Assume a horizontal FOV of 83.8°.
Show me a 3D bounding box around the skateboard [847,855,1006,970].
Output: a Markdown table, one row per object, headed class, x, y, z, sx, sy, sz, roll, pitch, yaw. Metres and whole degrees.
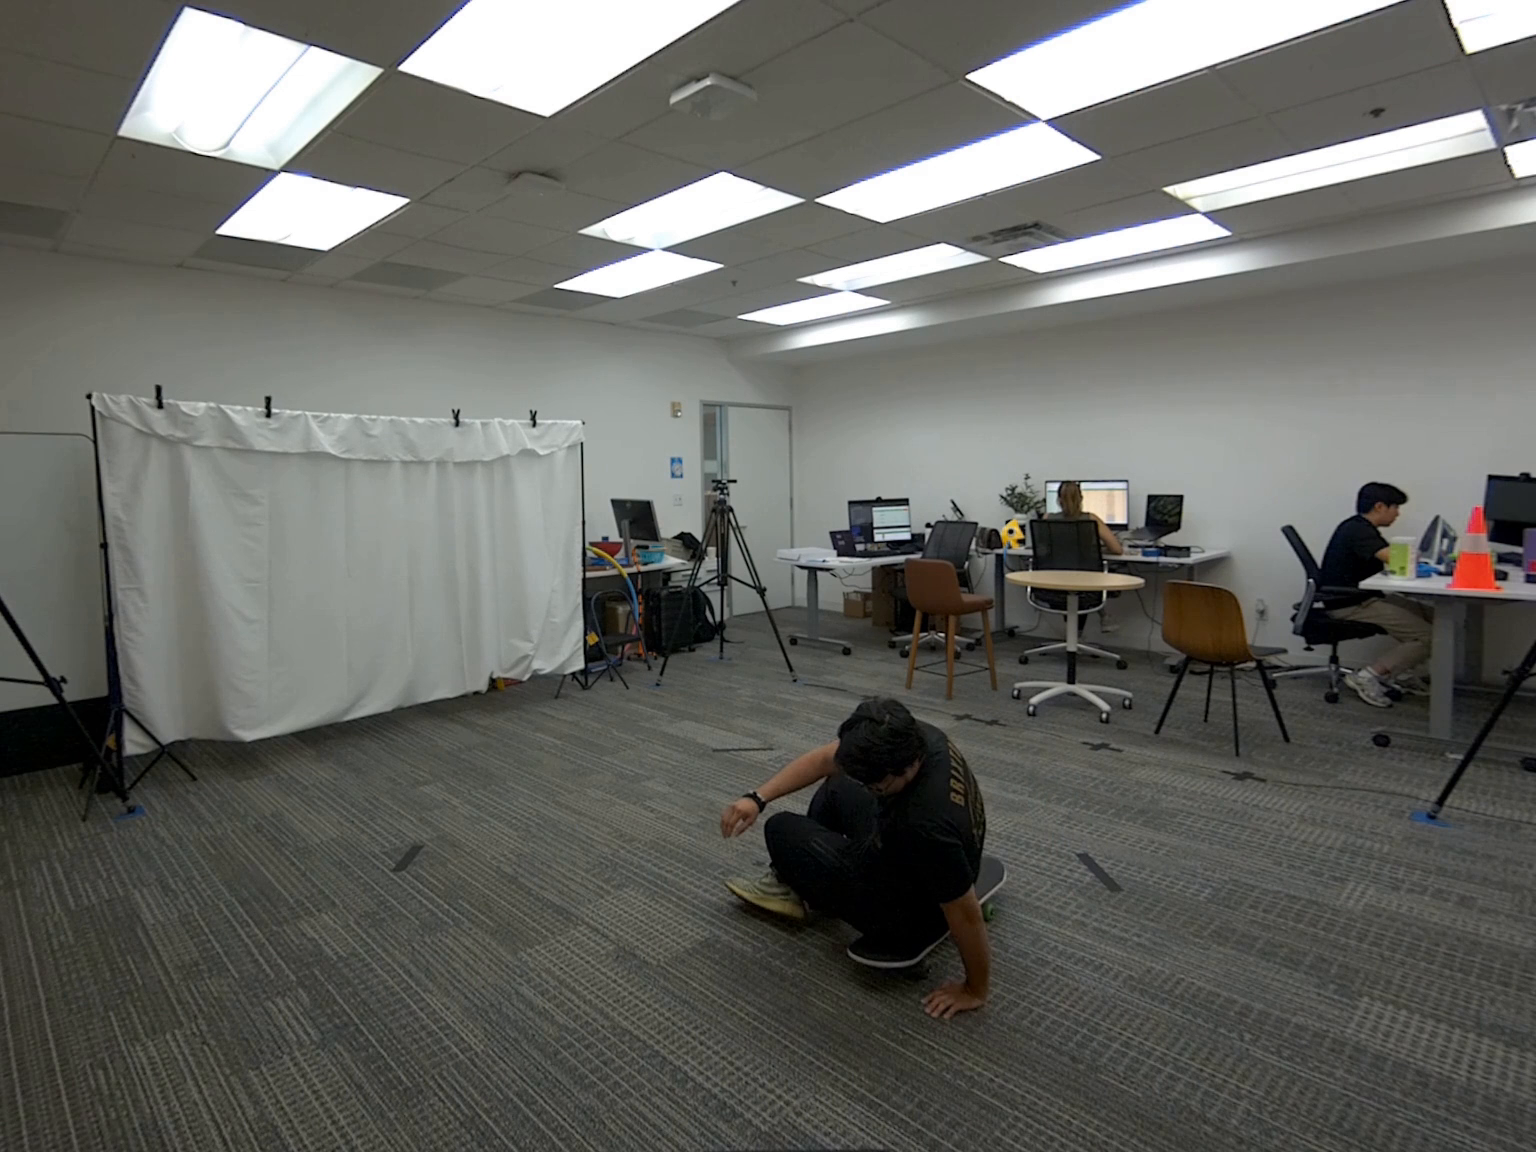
| class | x | y | z | sx | sy | sz | roll | pitch | yaw |
| --- | --- | --- | --- | --- | --- | --- | --- | --- | --- |
| skateboard | 0.505 | 1.041 | 2.591 | 0.199 | 0.110 | 0.766 | 0 | 6 | 42 |
